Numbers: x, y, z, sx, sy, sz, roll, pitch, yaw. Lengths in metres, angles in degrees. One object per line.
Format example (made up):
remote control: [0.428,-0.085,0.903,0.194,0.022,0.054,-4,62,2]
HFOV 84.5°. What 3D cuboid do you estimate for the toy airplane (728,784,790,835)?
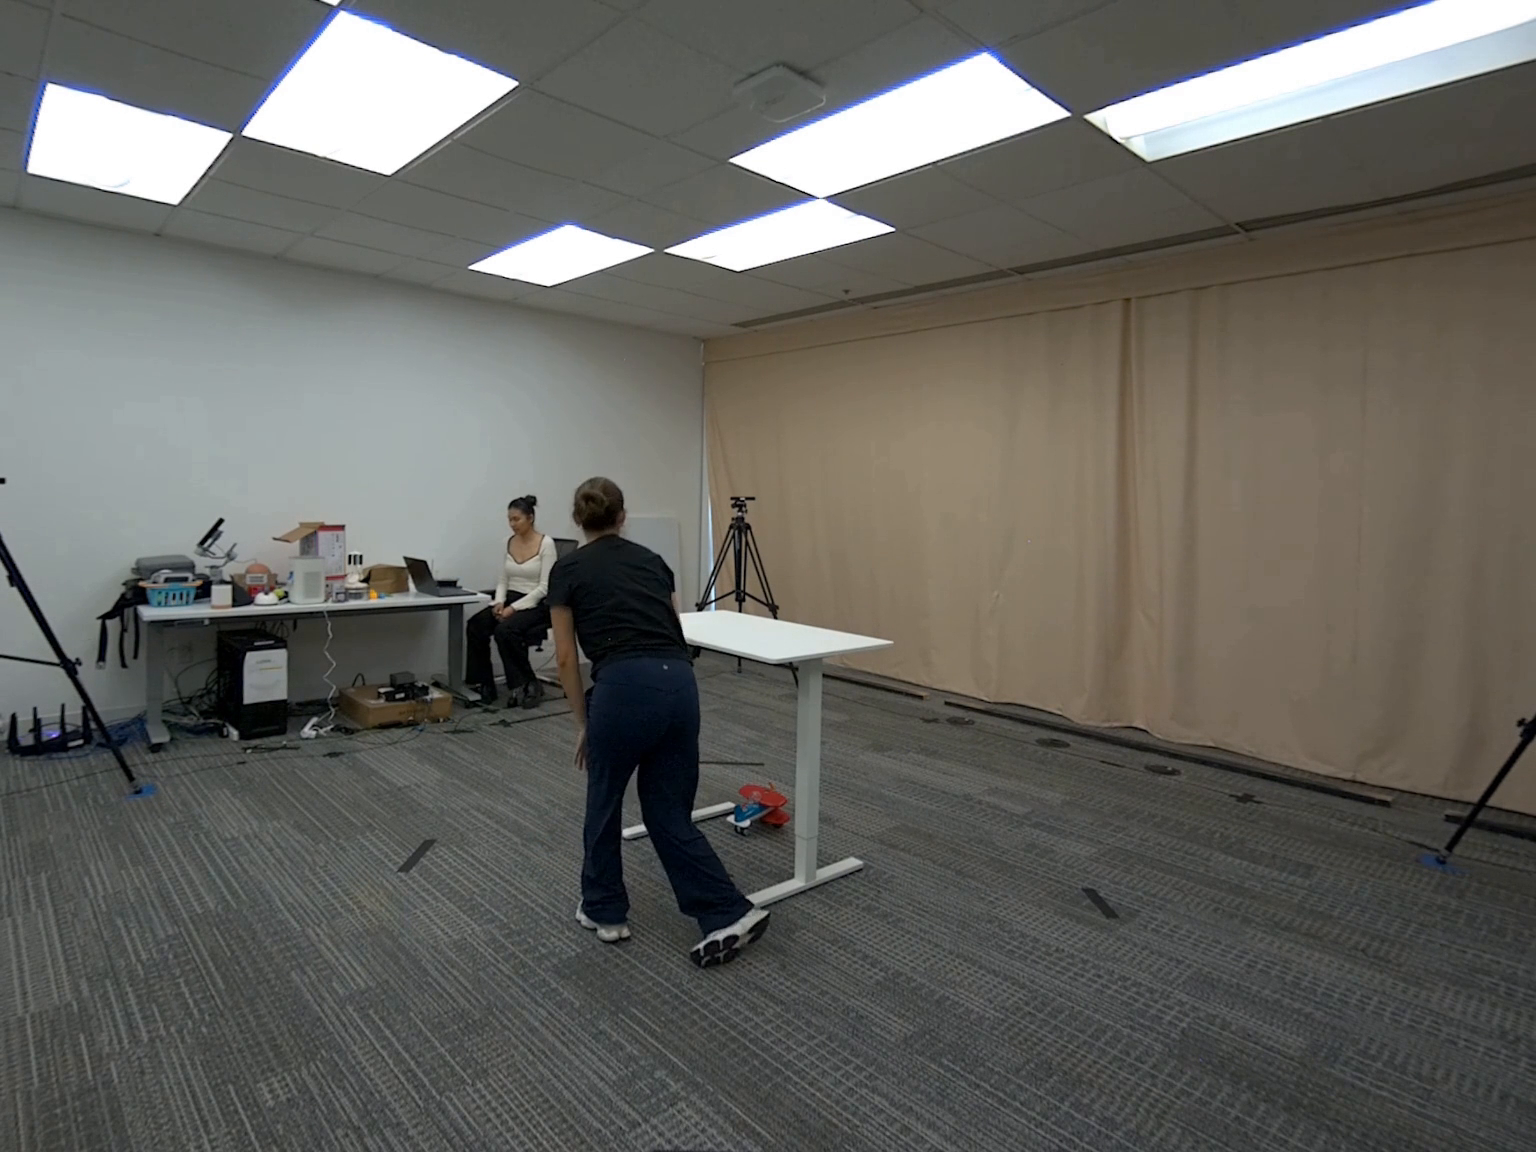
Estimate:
toy airplane: [-0.041,0.999,3.539,0.255,0.156,0.256,2,2,17]
